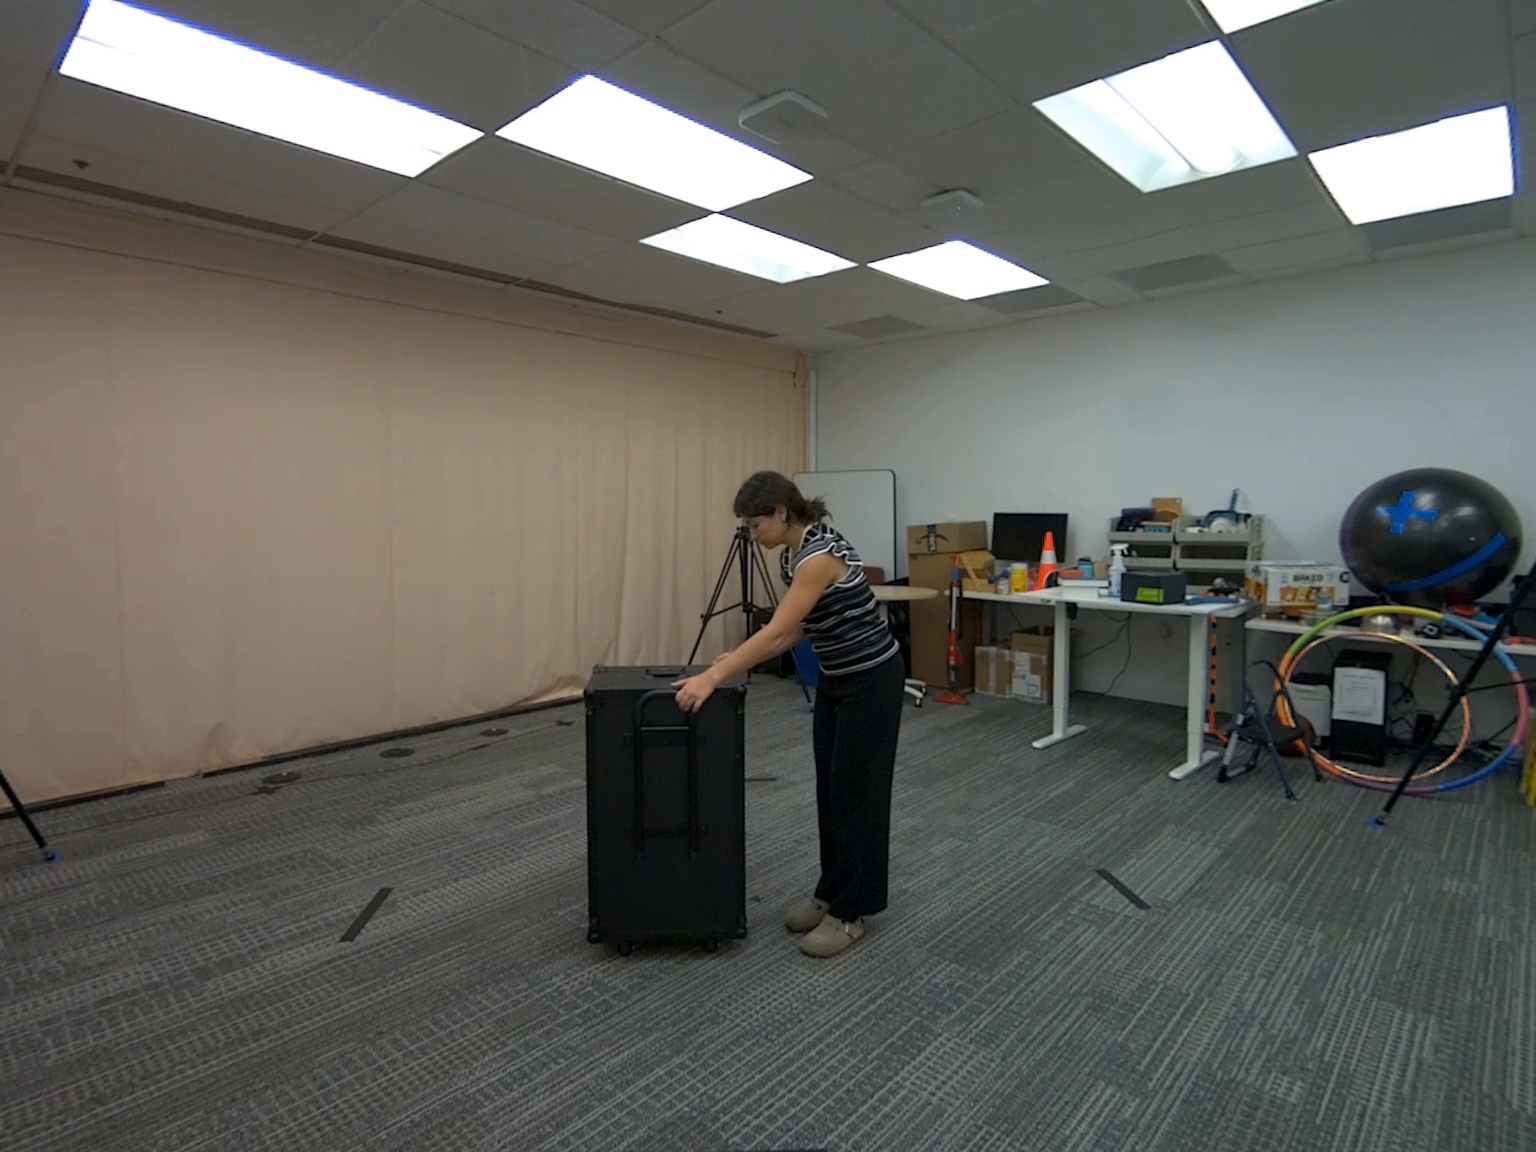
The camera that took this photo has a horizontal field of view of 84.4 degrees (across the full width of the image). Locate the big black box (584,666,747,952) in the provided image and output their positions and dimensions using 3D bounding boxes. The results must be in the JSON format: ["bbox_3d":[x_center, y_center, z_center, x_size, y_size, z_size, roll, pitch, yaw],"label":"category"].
[{"bbox_3d":[-0.318,0.751,2.707,0.519,0.859,0.399,0,4,-4],"label":"big black box"}]
